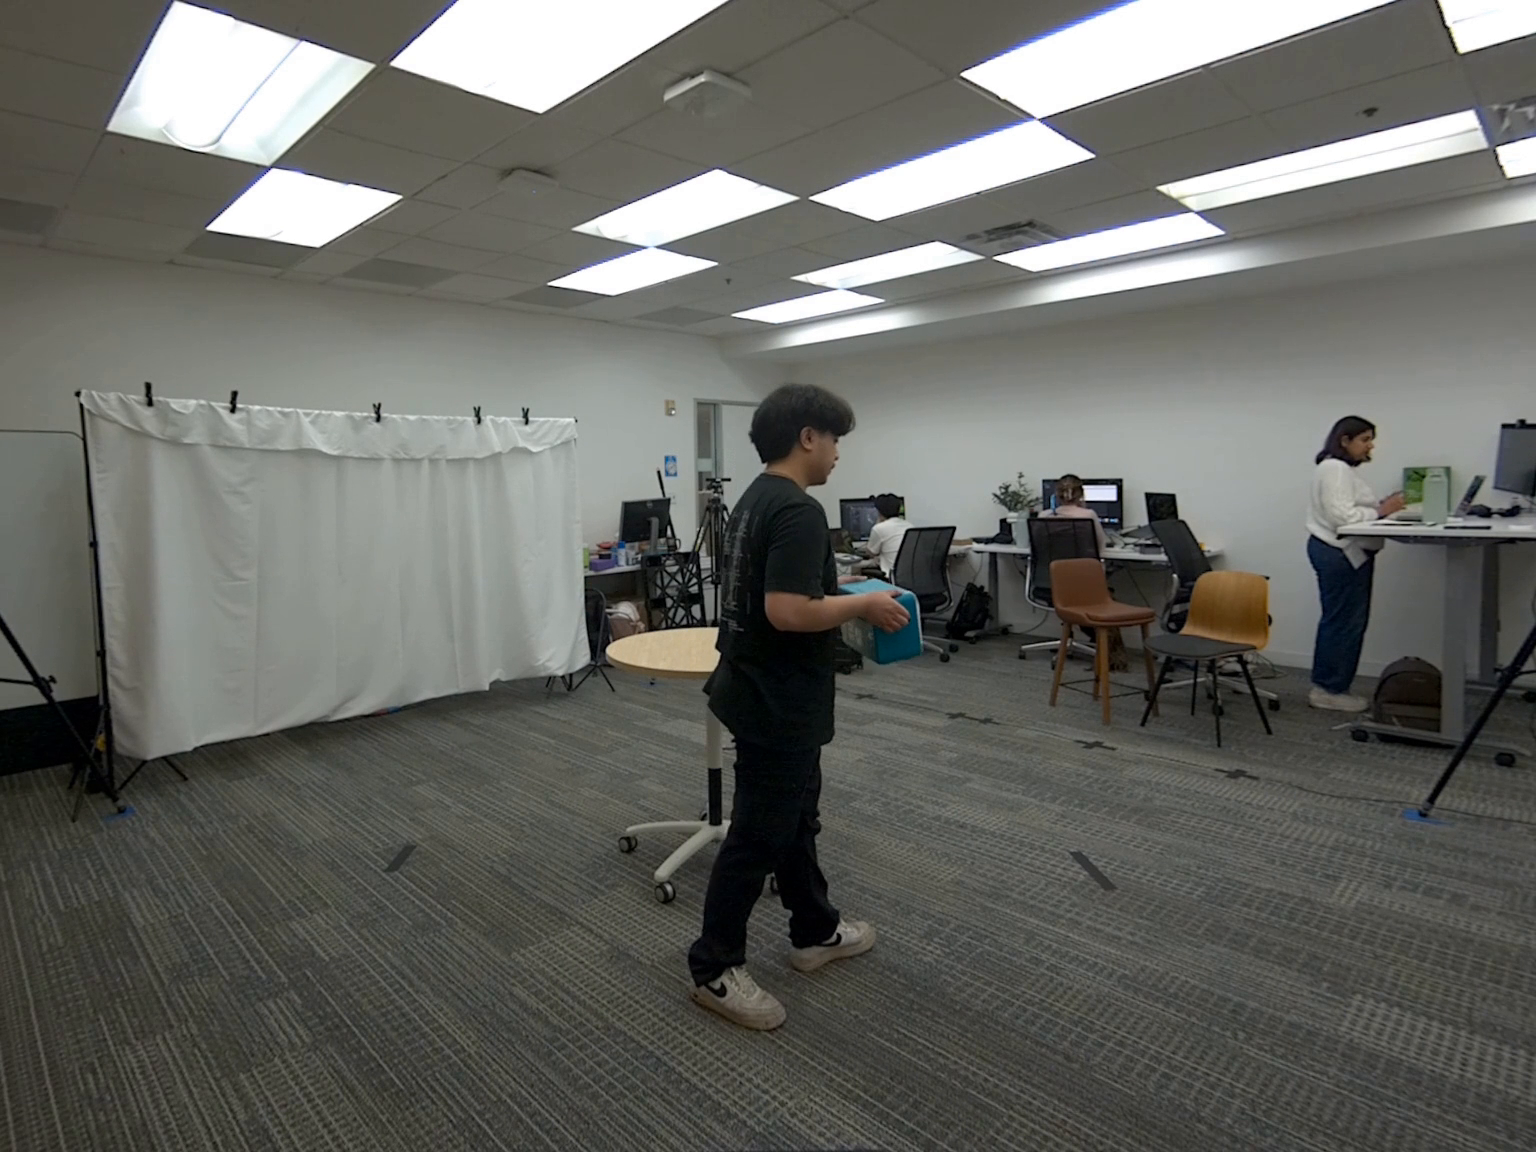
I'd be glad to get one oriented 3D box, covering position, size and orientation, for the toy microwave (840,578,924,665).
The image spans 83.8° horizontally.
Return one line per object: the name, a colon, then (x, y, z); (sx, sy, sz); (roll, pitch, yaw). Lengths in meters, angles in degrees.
toy microwave: (0.314, 0.120, 2.364); (0.151, 0.182, 0.291); (-10, 9, -13)
